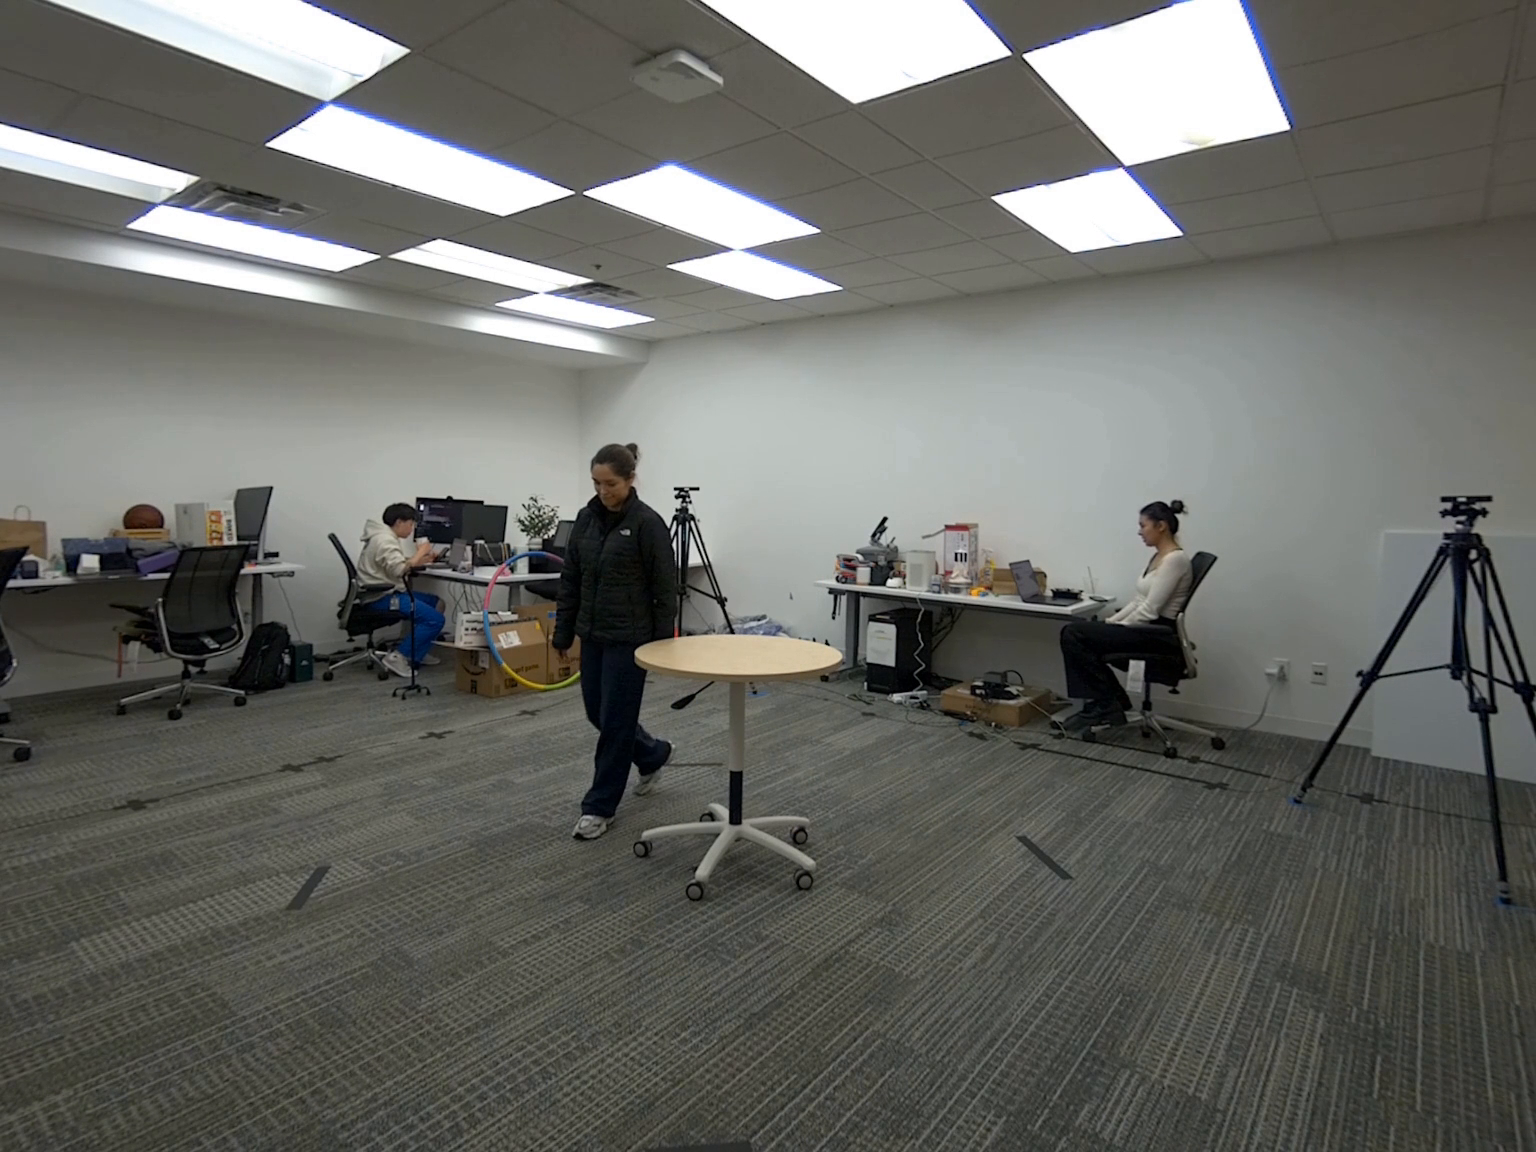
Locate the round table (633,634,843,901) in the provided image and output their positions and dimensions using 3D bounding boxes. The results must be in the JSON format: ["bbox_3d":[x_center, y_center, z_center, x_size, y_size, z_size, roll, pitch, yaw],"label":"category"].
[{"bbox_3d":[-0.097,0.669,3.163,0.784,0.784,0.789,1,4,-2],"label":"round table"}]
